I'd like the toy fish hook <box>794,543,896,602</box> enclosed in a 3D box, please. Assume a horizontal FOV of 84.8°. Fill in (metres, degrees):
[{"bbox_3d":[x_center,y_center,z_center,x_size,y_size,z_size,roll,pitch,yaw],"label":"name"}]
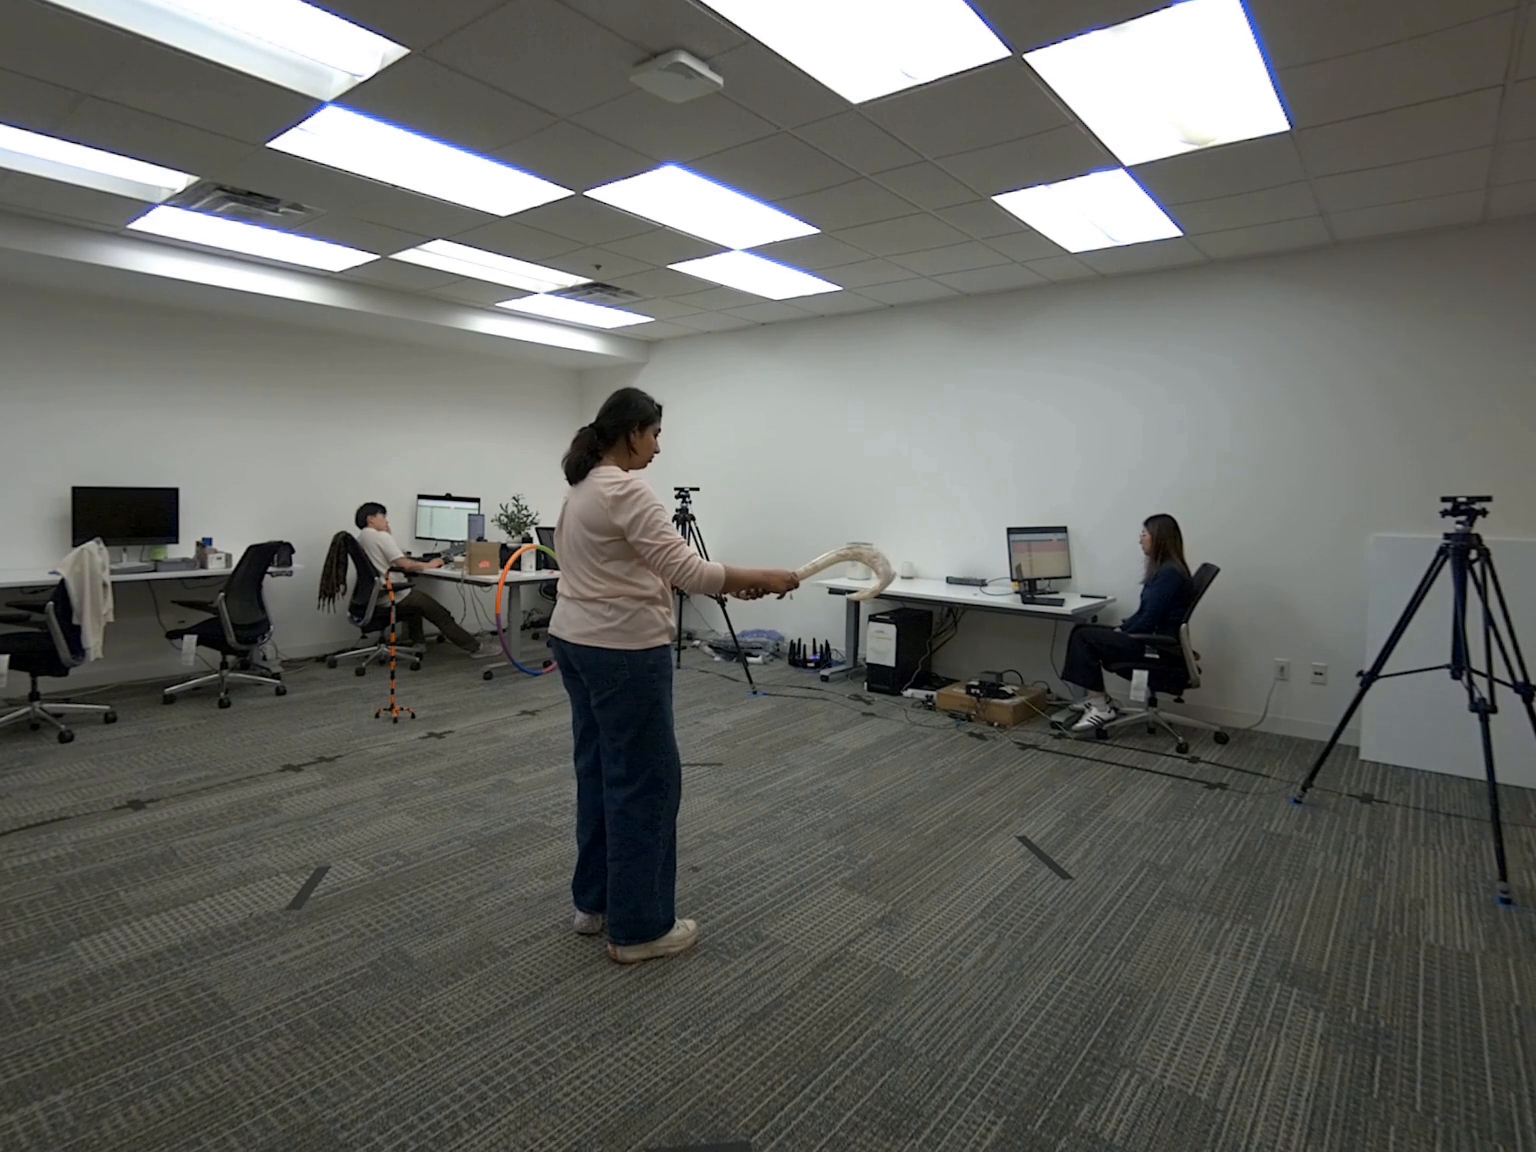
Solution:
[{"bbox_3d":[0.103,0.017,2.629,0.502,0.047,0.234,-16,45,-11],"label":"toy fish hook"}]
